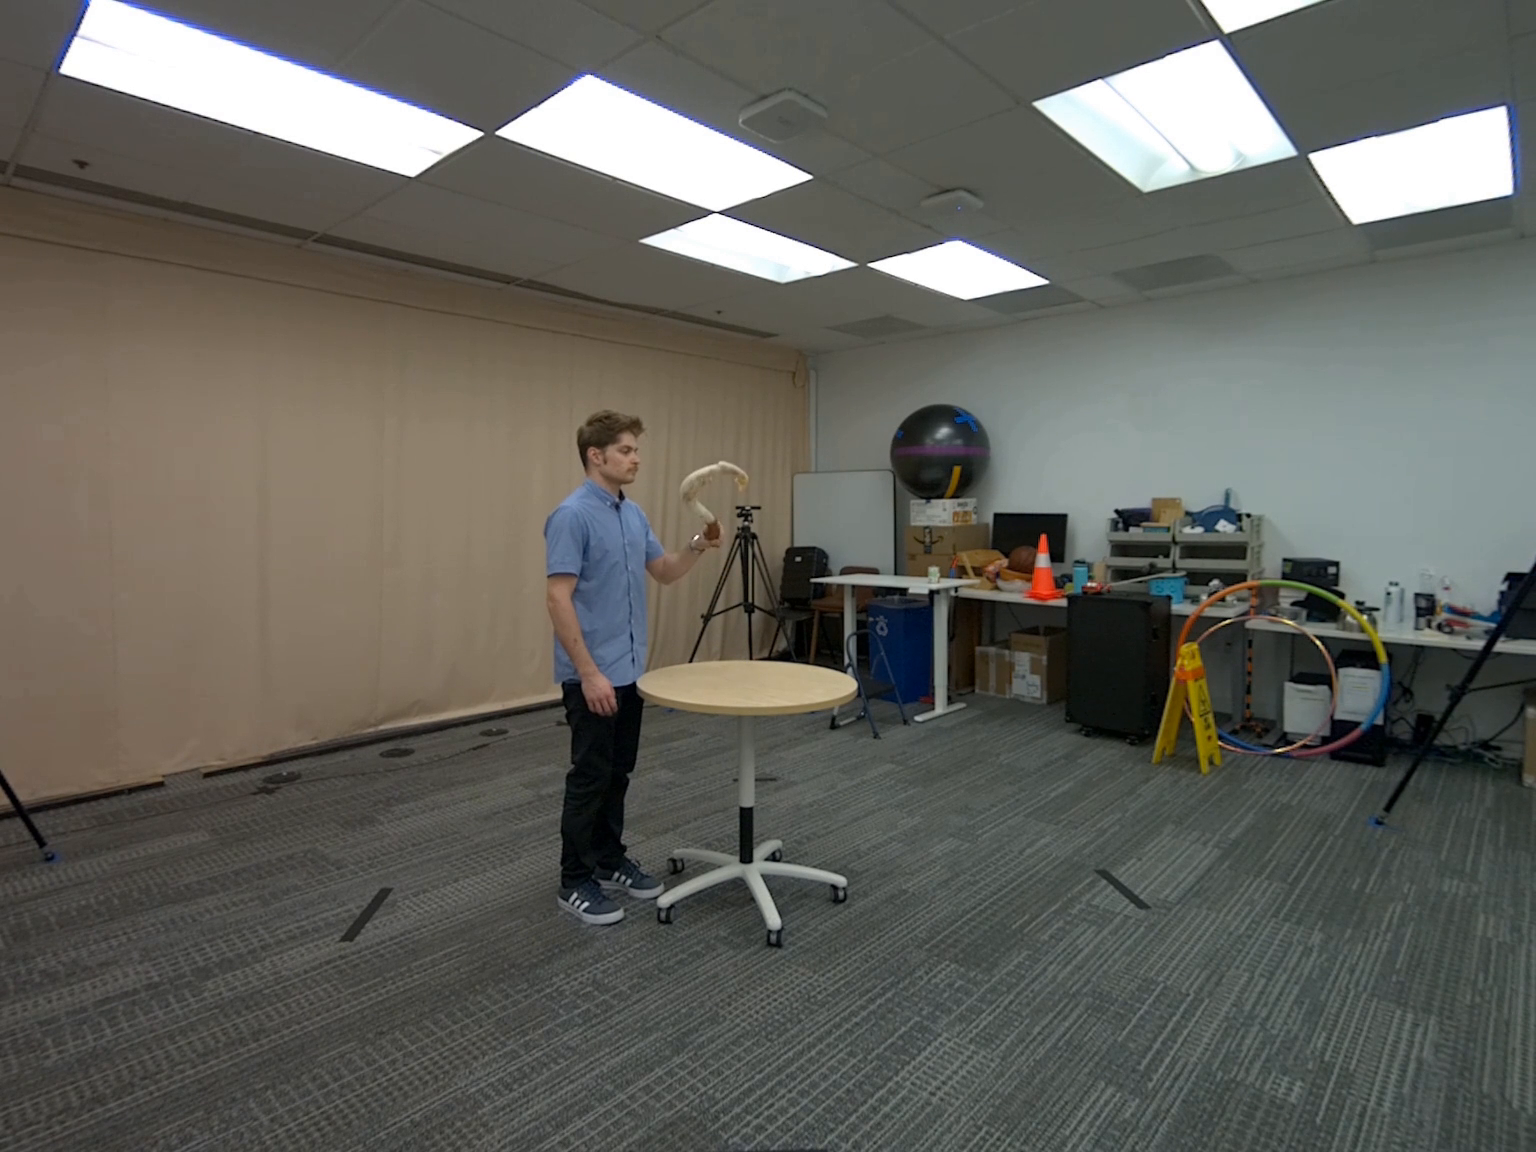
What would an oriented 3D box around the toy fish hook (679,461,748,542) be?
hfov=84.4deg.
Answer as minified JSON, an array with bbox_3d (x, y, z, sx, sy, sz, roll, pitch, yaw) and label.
[{"bbox_3d":[-0.149,-0.218,2.784,0.225,0.049,0.495,-19,-25,1],"label":"toy fish hook"}]
